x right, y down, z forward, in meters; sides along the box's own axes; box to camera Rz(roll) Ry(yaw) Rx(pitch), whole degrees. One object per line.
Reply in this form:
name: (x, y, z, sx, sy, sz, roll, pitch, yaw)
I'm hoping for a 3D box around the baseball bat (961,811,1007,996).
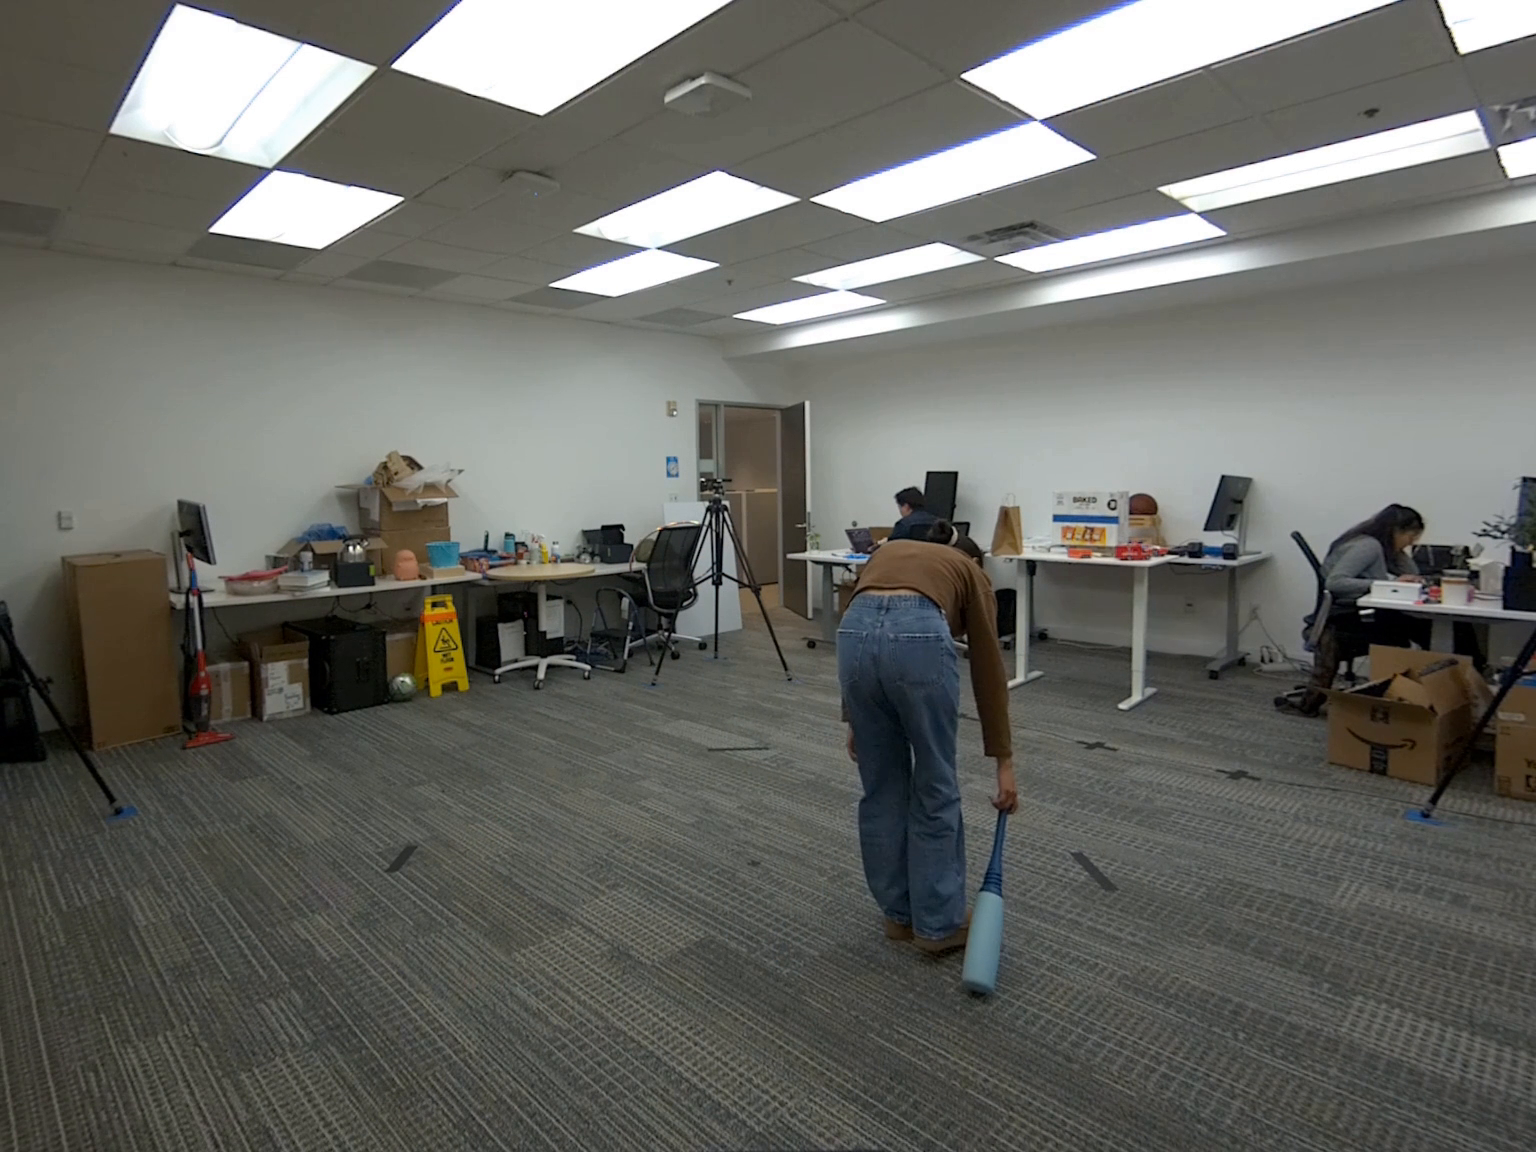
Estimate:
baseball bat: (0.643, 0.902, 2.435, 0.090, 0.550, 0.087, 14, -36, 9)
